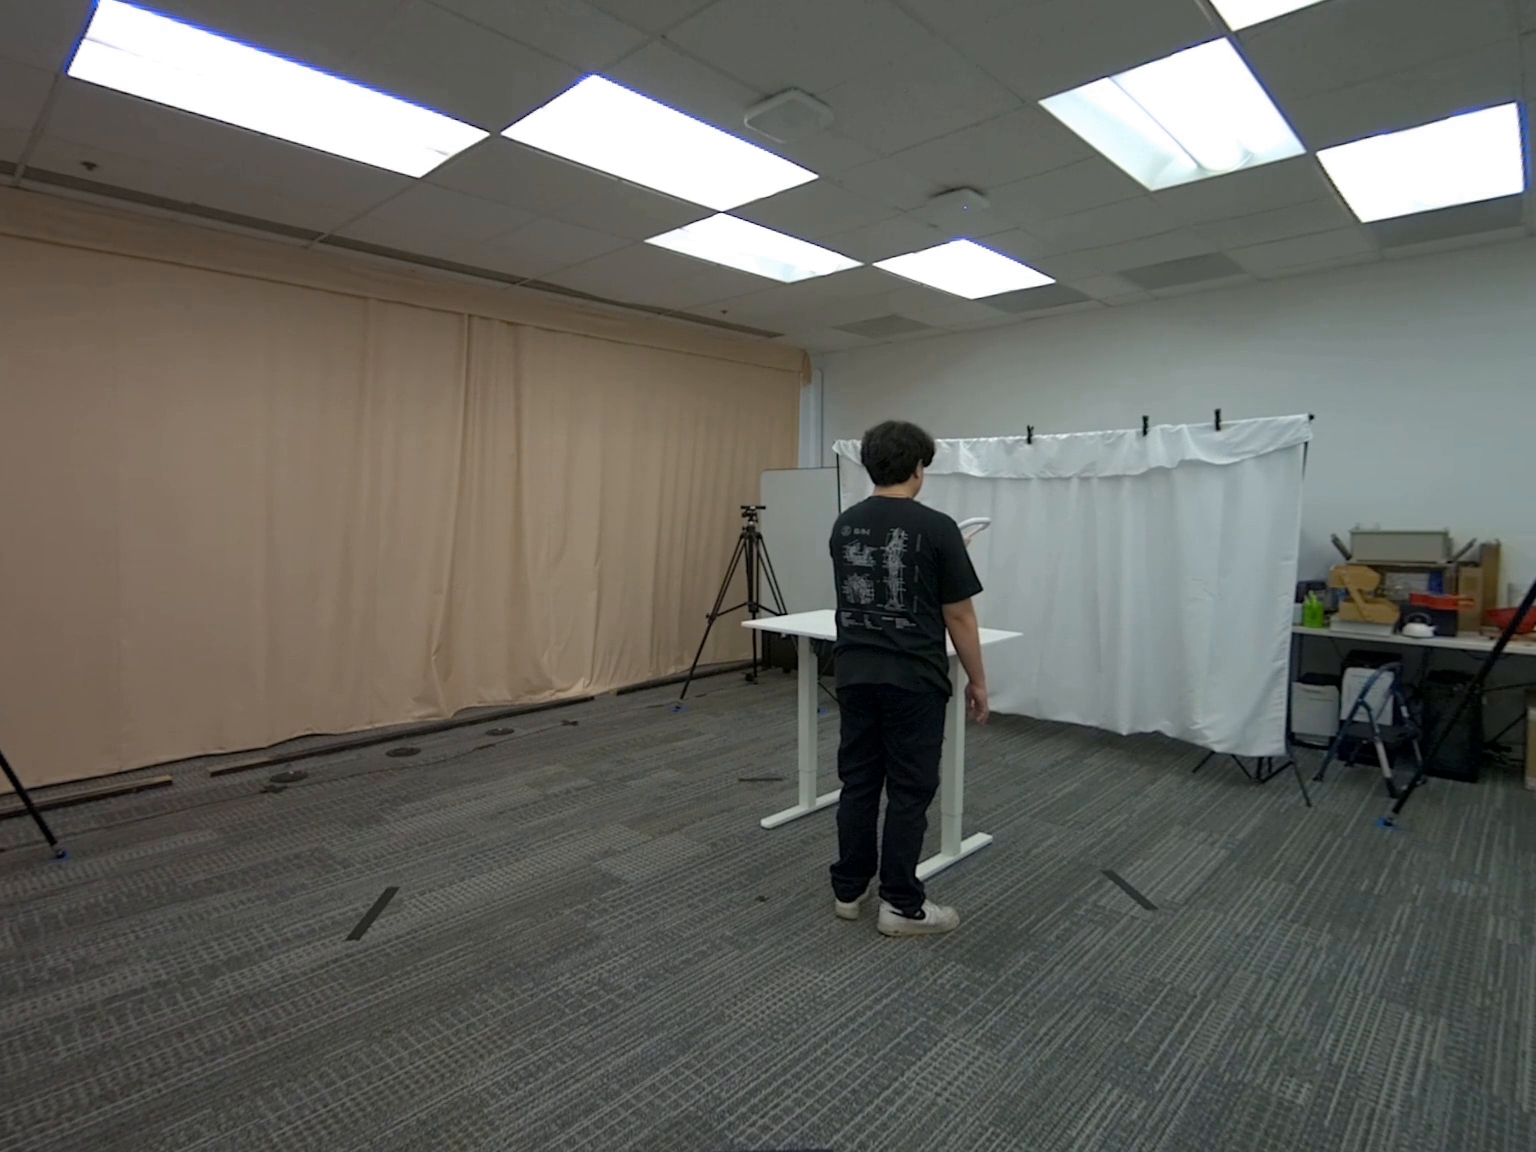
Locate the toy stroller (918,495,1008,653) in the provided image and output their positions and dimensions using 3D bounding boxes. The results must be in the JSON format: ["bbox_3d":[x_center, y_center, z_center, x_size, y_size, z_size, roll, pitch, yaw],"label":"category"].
[{"bbox_3d":[0.661,-0.017,3.363,0.273,0.531,0.354,-5,22,-44],"label":"toy stroller"}]
